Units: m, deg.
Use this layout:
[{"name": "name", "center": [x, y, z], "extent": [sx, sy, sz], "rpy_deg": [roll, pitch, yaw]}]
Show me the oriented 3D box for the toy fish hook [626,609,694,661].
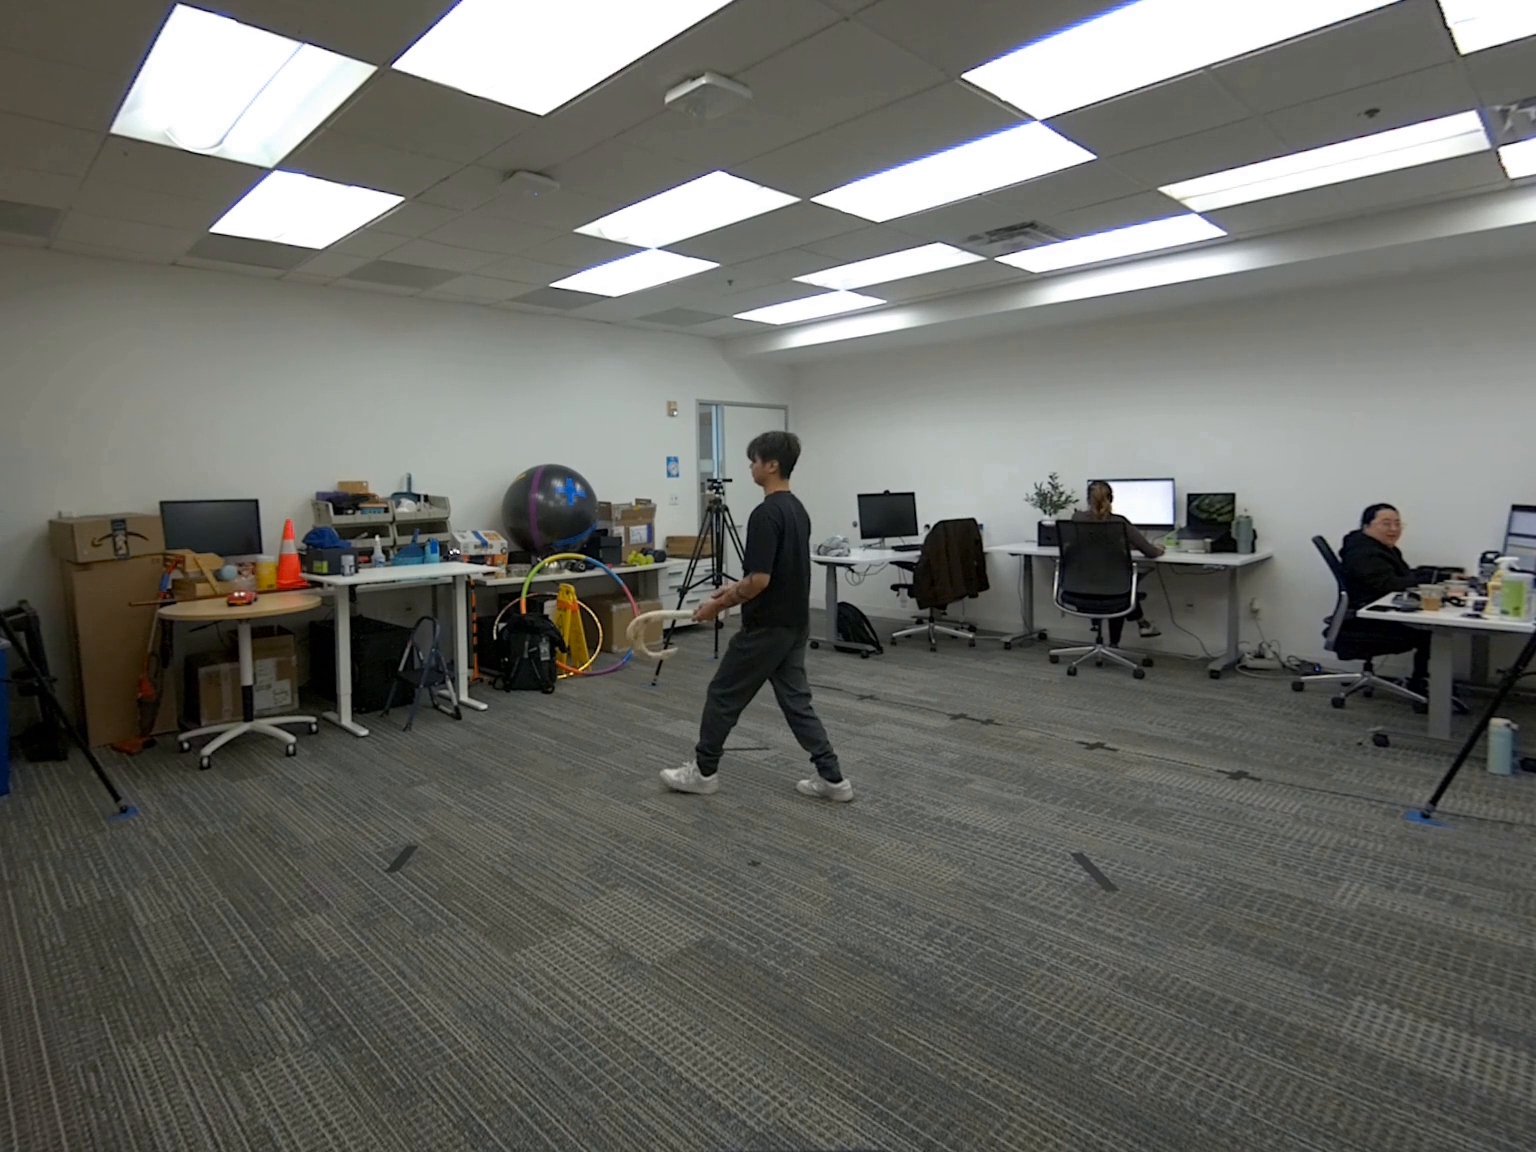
[{"name": "toy fish hook", "center": [-0.349, 0.221, 3.699], "extent": [0.506, 0.219, 0.049], "rpy_deg": [-14, 23, 0]}]
